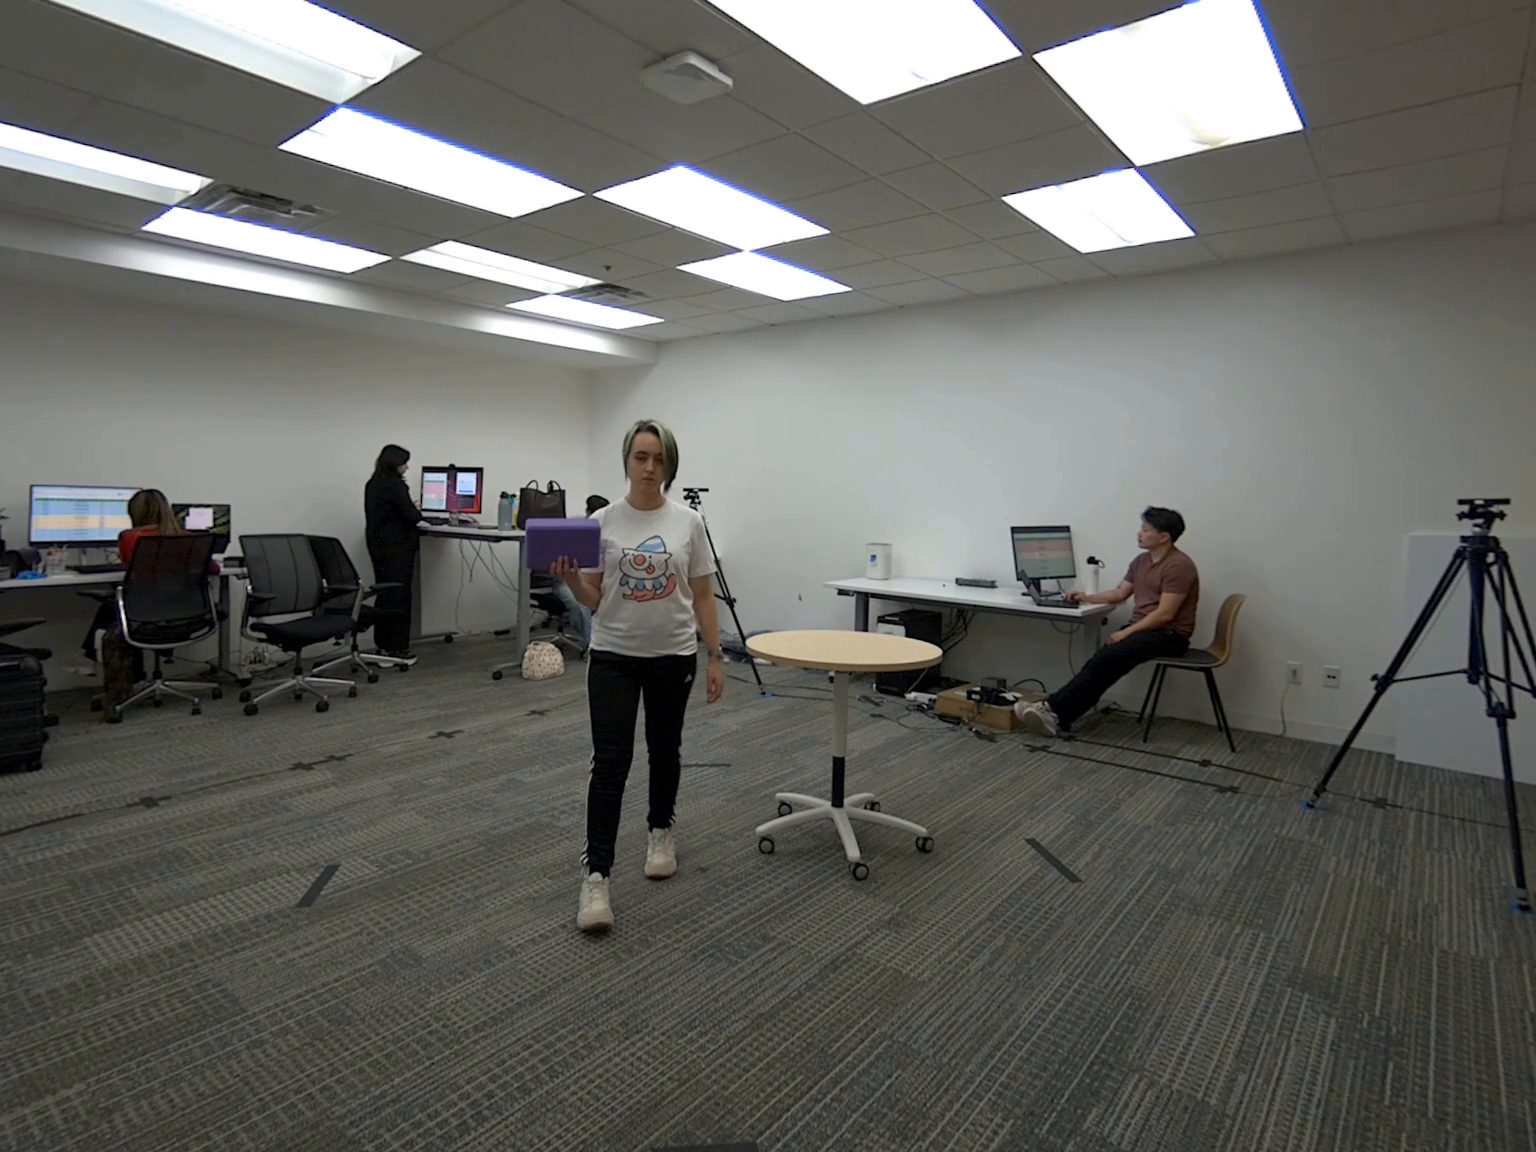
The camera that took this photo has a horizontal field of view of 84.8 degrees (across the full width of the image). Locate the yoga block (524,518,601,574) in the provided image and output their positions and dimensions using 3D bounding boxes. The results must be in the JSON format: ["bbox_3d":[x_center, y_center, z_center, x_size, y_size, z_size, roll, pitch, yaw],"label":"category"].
[{"bbox_3d":[-0.671,-0.105,2.682,0.225,0.146,0.079,0,25,-16],"label":"yoga block"}]
